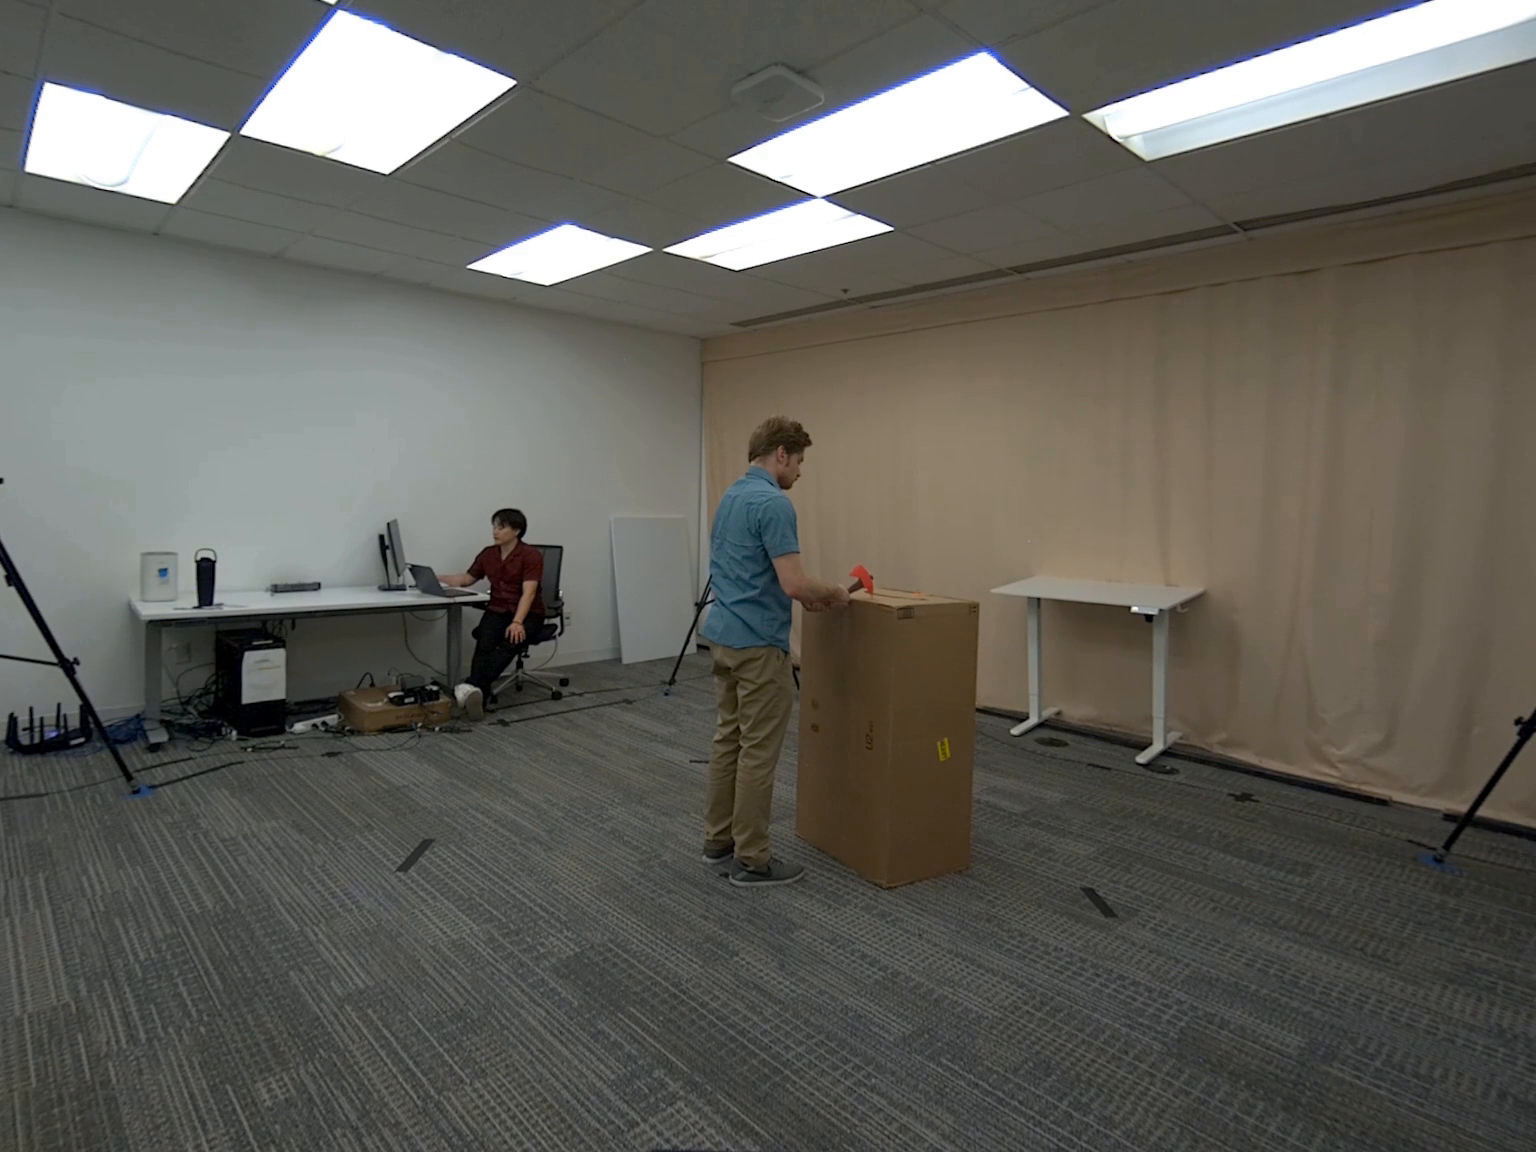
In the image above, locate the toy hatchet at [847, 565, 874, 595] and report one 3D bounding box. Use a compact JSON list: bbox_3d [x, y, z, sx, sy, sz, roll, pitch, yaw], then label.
[{"bbox_3d":[0.263,0.028,3.192,0.267,0.130,0.030,-8,10,-14],"label":"toy hatchet"}]
